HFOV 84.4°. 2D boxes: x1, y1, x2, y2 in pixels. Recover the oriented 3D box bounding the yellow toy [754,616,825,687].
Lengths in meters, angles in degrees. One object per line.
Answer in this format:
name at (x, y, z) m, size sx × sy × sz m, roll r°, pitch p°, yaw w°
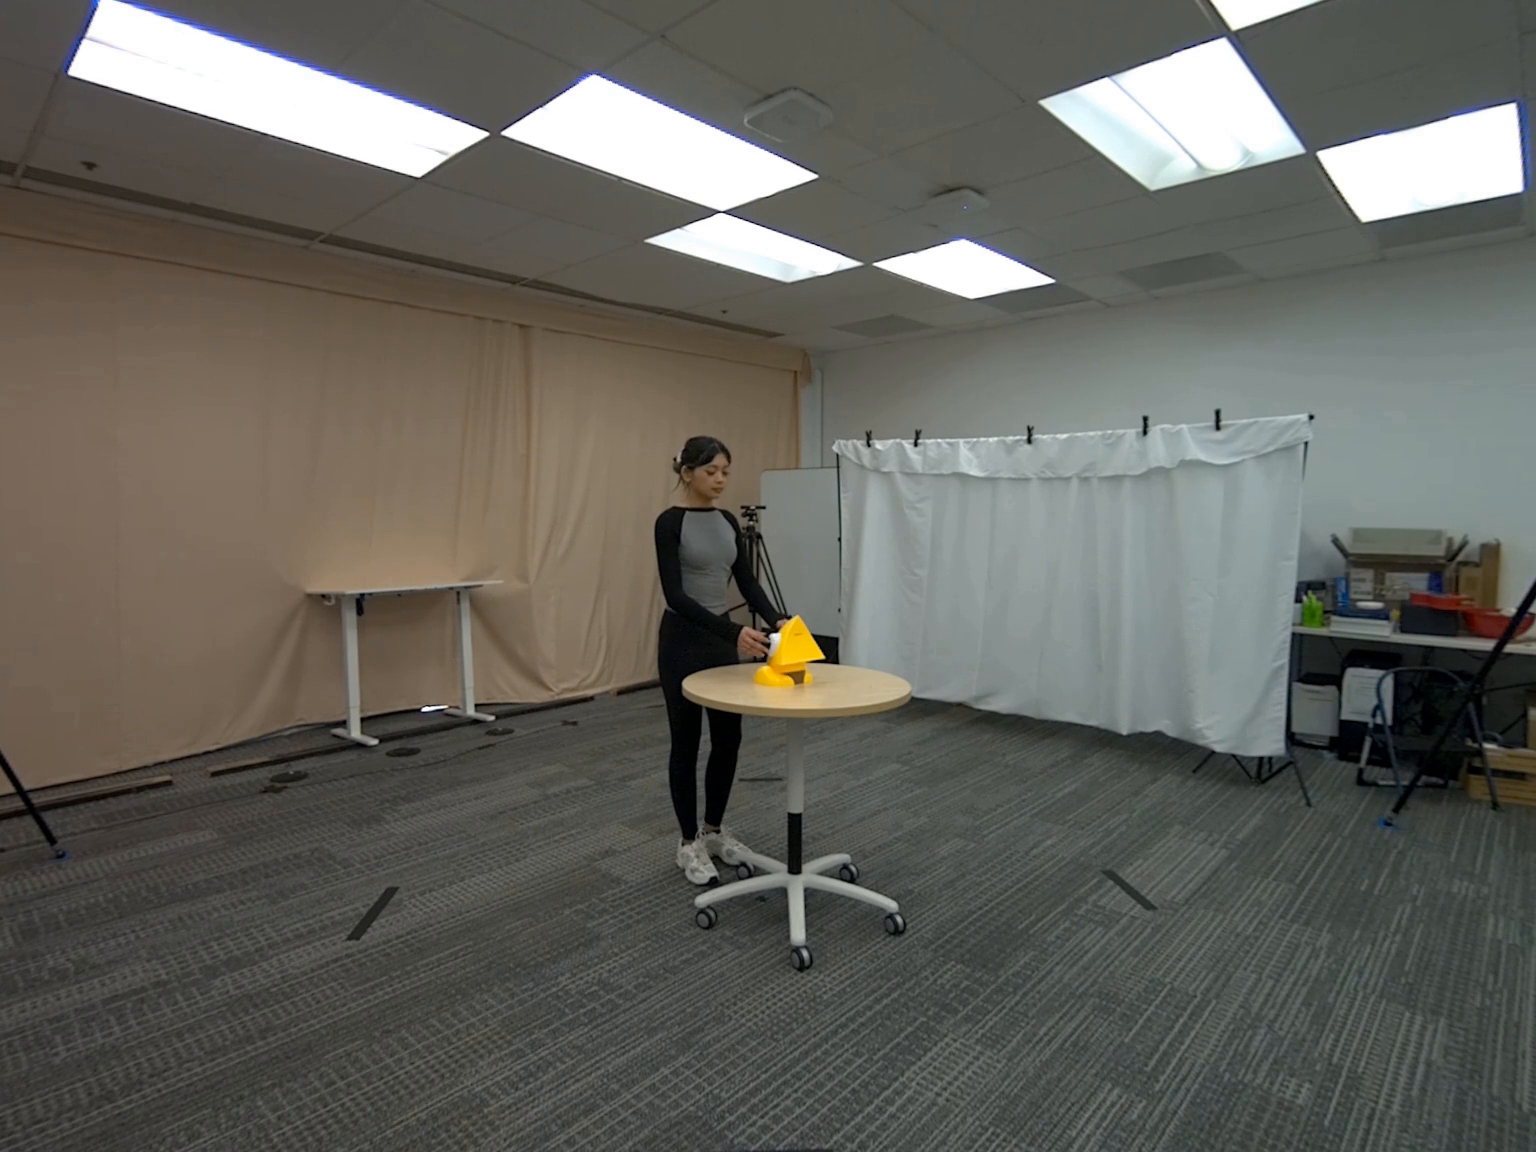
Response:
yellow toy at (0.061, 0.246, 2.873) m, size 0.198 × 0.230 × 0.199 m, roll -2°, pitch 3°, yaw -42°
